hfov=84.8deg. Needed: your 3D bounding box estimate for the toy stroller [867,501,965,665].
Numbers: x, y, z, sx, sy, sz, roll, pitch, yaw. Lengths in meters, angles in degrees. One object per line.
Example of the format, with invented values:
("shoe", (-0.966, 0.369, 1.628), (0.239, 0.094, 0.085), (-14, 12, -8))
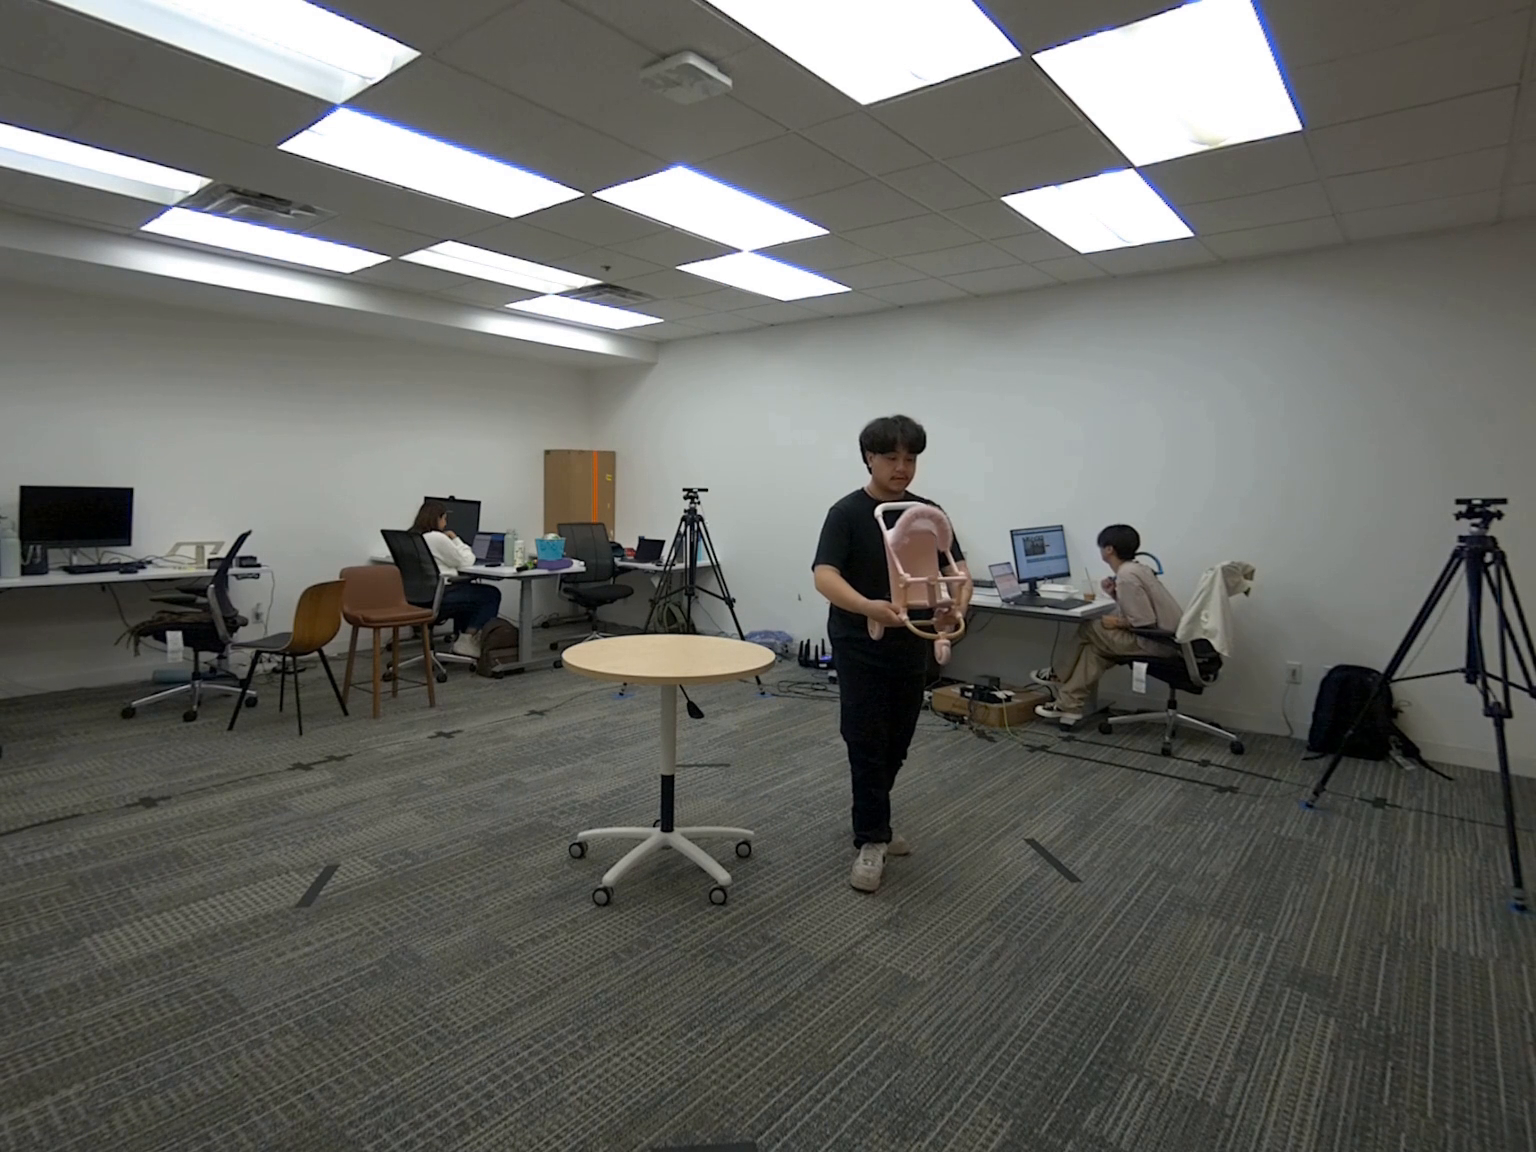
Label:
("toy stroller", (0.493, 0.004, 2.784), (0.279, 0.536, 0.343), (0, -2, -9))
